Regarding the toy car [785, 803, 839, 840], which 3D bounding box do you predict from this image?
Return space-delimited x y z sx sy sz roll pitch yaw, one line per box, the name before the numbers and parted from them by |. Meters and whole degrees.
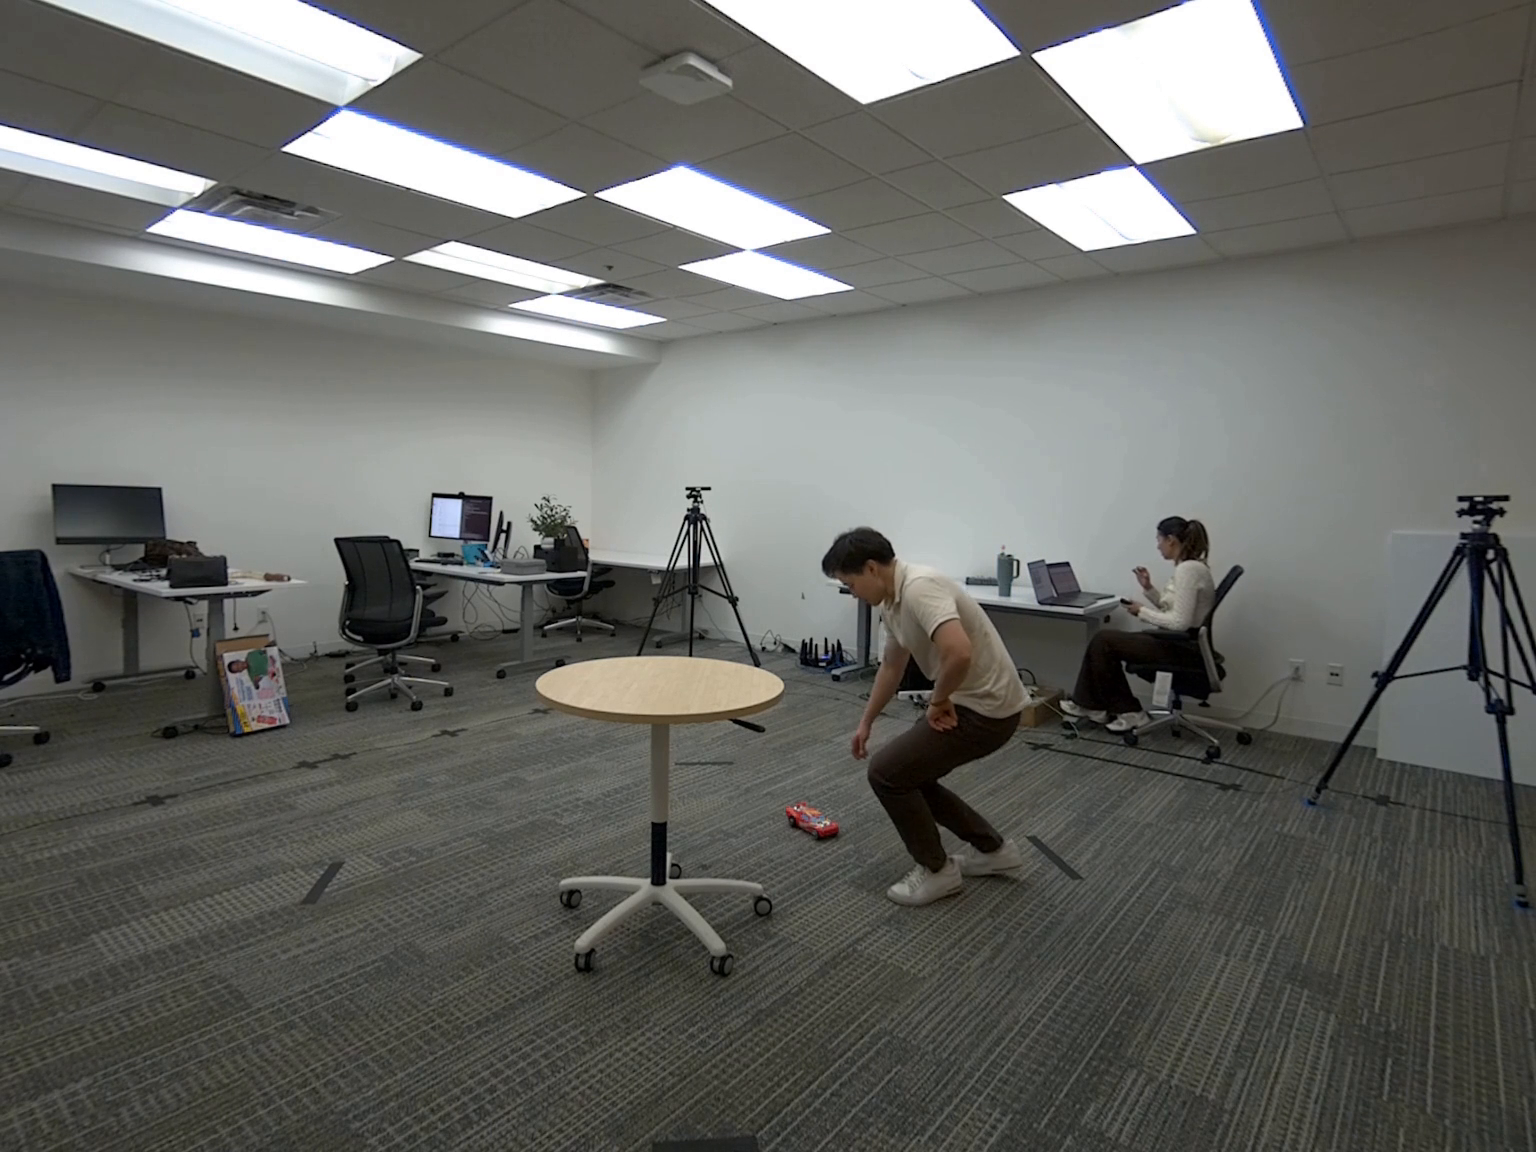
toy car | 0.169 1.003 3.504 0.126 0.082 0.265 -2 17 -35
